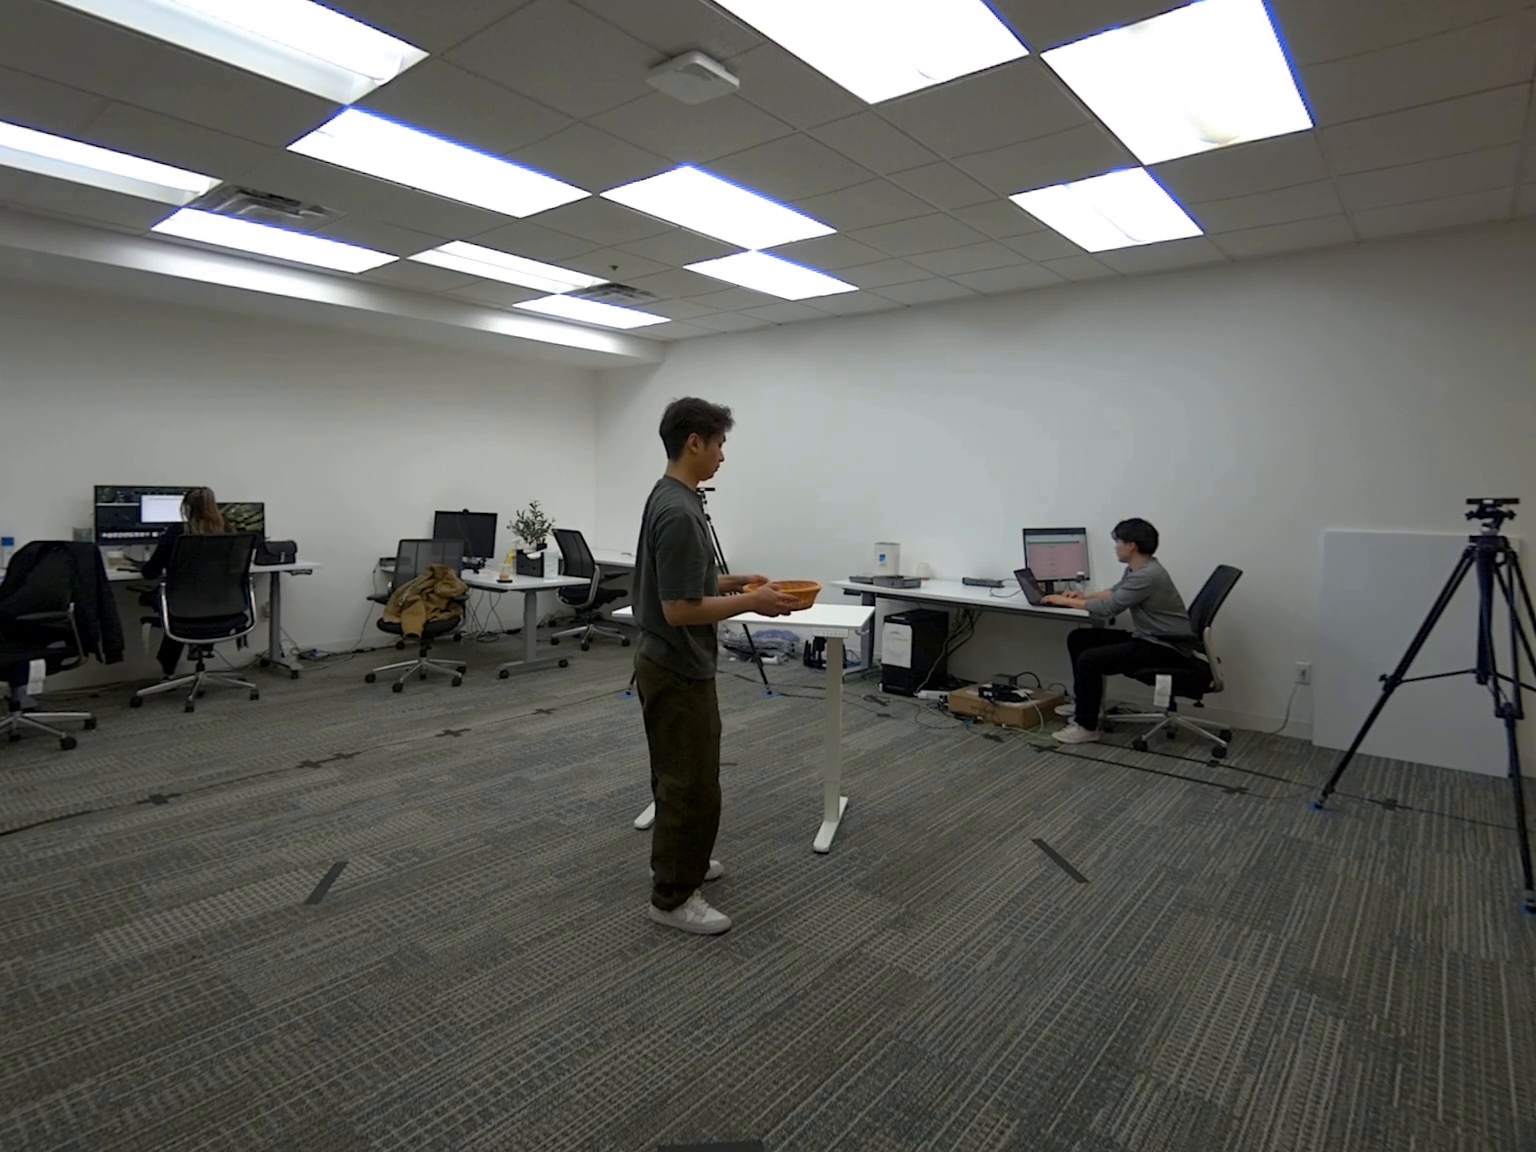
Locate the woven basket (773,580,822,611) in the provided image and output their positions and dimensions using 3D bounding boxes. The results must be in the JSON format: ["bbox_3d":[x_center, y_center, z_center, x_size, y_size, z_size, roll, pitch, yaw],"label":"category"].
[{"bbox_3d":[0.022,0.076,2.706,0.251,0.073,0.354,-4,4,-7],"label":"woven basket"}]
